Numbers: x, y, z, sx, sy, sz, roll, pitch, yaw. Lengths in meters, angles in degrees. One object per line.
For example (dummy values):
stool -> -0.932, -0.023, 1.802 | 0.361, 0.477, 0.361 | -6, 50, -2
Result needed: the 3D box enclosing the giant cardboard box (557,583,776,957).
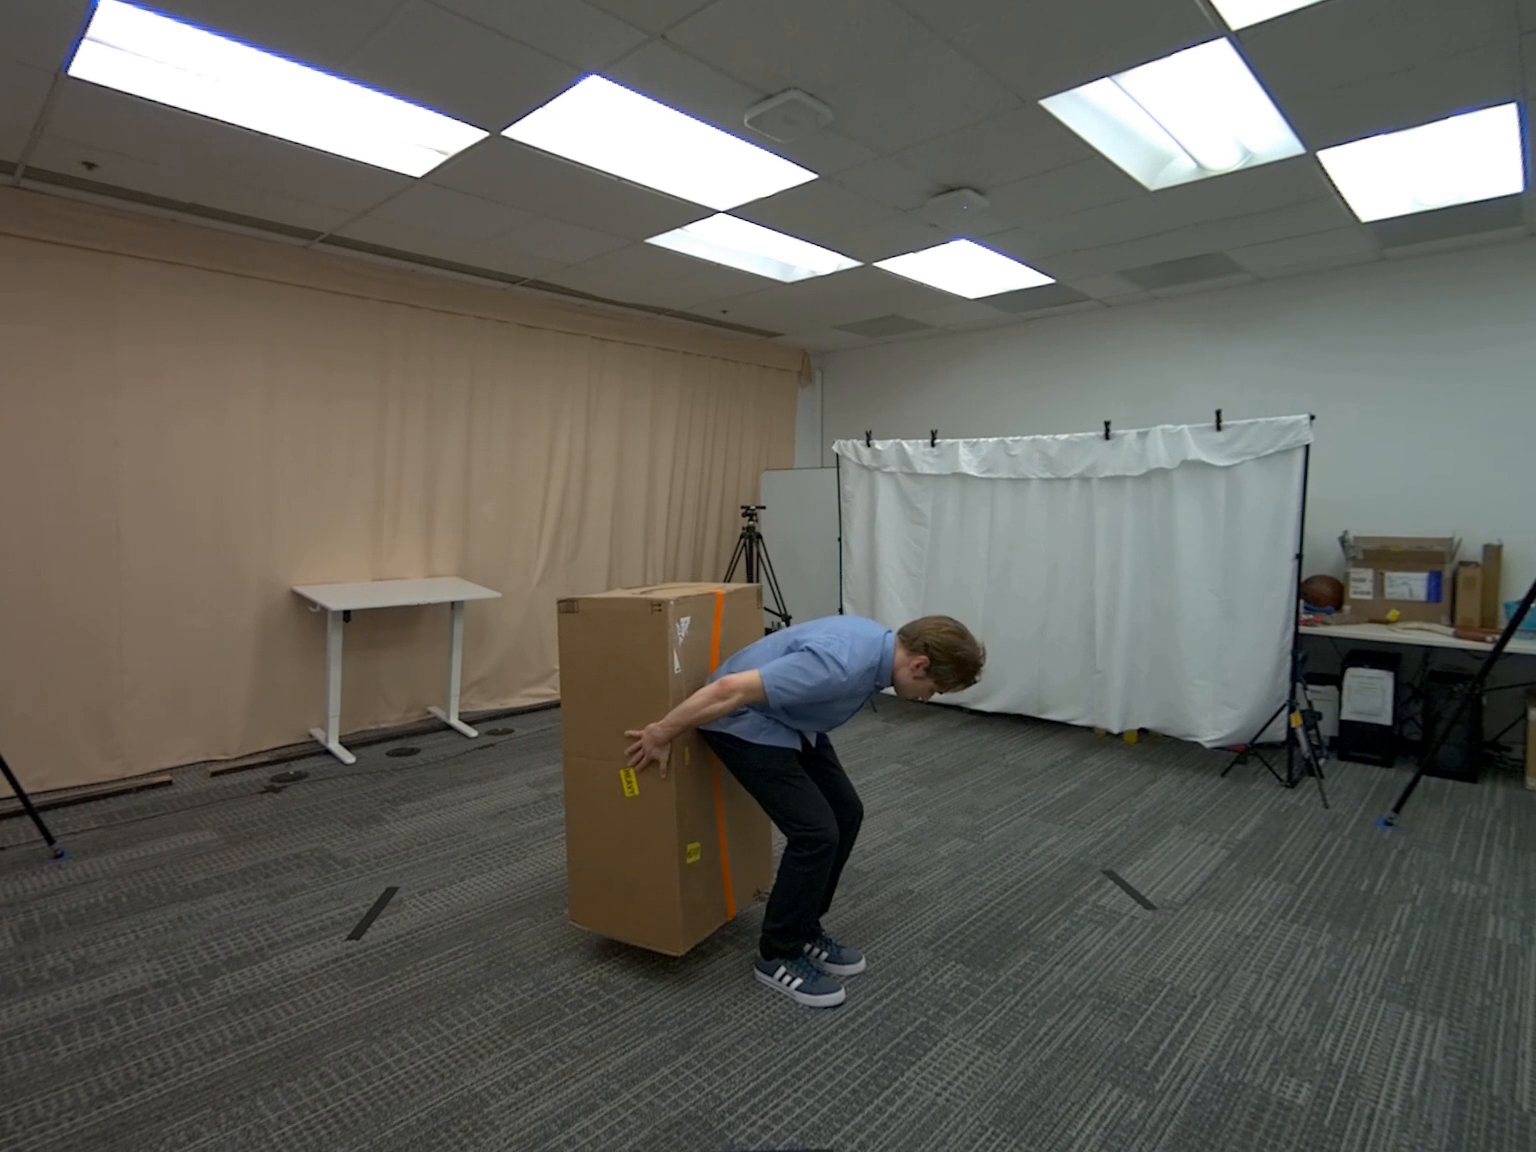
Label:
giant cardboard box -> -0.312, 0.566, 2.726 | 0.459, 1.027, 0.569 | -3, 1, 29
